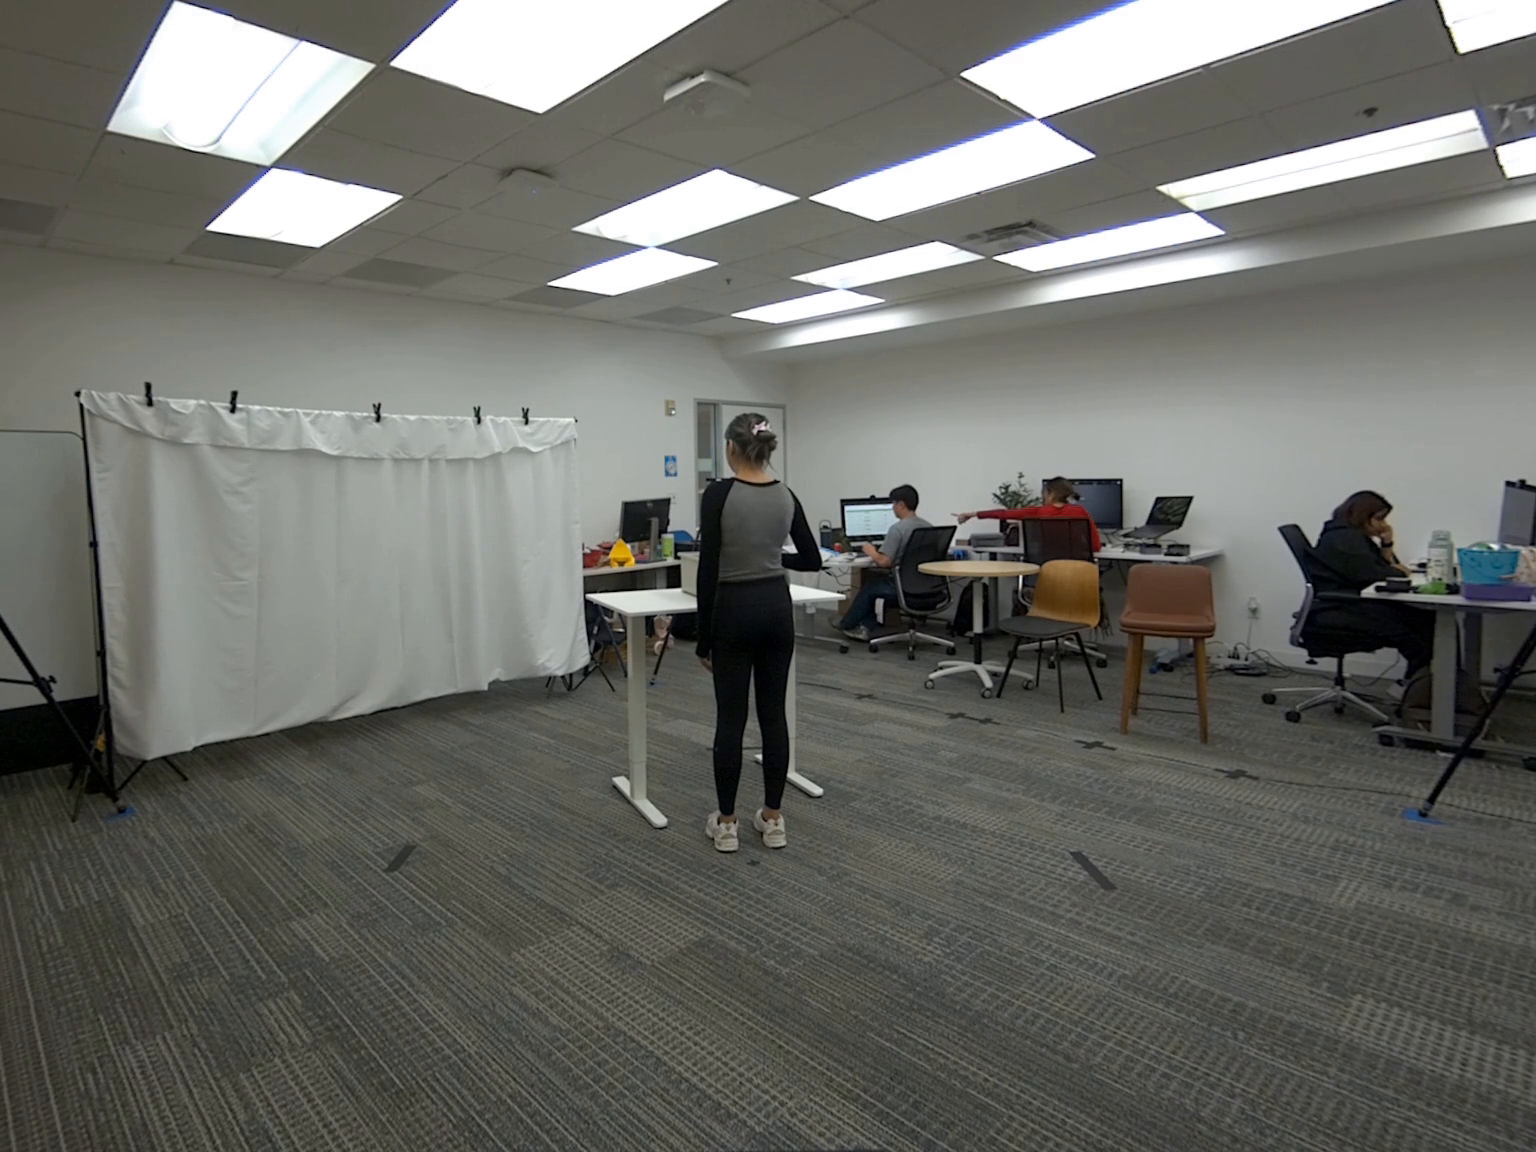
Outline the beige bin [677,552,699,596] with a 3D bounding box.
[{"bbox_3d":[-0.148,-0.002,3.784,0.371,0.188,0.432,-5,8,-21],"label":"beige bin"}]
